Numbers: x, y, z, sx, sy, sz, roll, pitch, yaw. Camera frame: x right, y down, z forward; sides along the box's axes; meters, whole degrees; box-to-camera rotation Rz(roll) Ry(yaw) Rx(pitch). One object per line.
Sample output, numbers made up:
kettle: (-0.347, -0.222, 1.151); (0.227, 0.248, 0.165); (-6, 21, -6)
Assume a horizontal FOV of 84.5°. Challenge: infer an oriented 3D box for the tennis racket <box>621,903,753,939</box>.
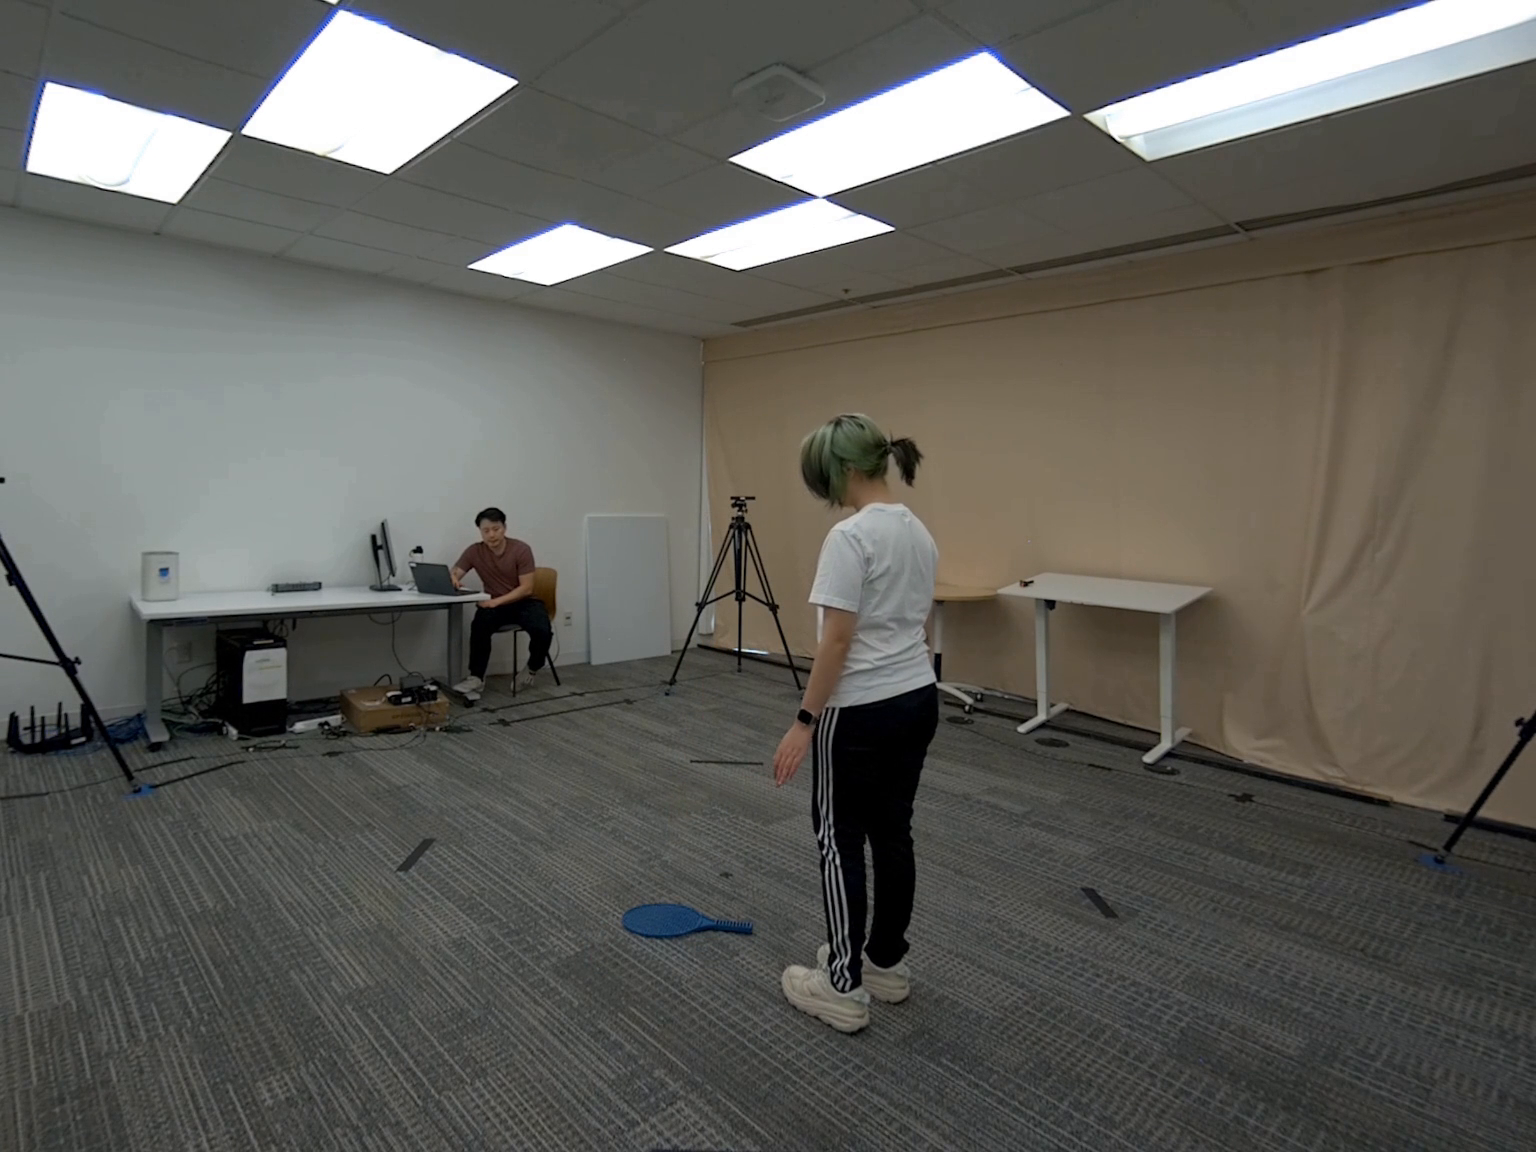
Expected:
tennis racket: (-0.267, 1.124, 2.732); (0.436, 0.031, 0.213); (1, 5, 9)
